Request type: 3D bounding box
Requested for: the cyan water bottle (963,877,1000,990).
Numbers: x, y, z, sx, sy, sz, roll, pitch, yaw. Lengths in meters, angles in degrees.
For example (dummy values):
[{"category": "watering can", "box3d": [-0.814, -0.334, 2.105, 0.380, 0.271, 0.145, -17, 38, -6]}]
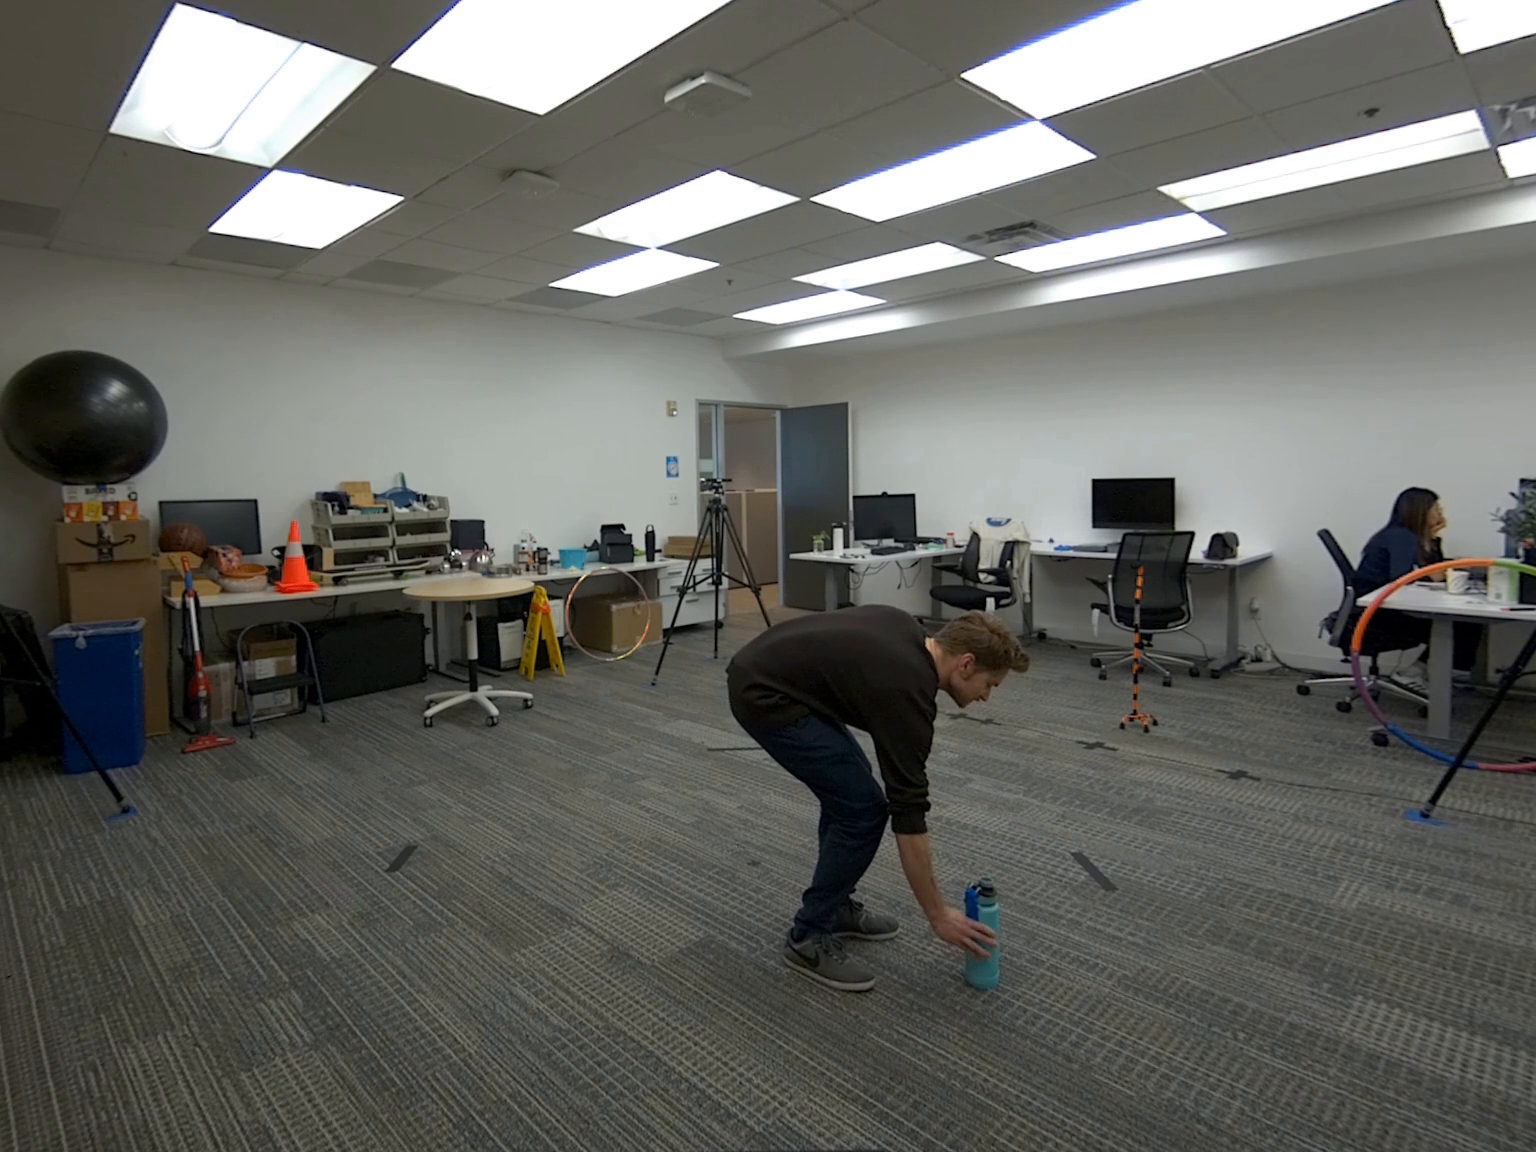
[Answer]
[{"category": "cyan water bottle", "box3d": [0.593, 0.976, 2.353, 0.092, 0.282, 0.093, -2, 4, -2]}]
